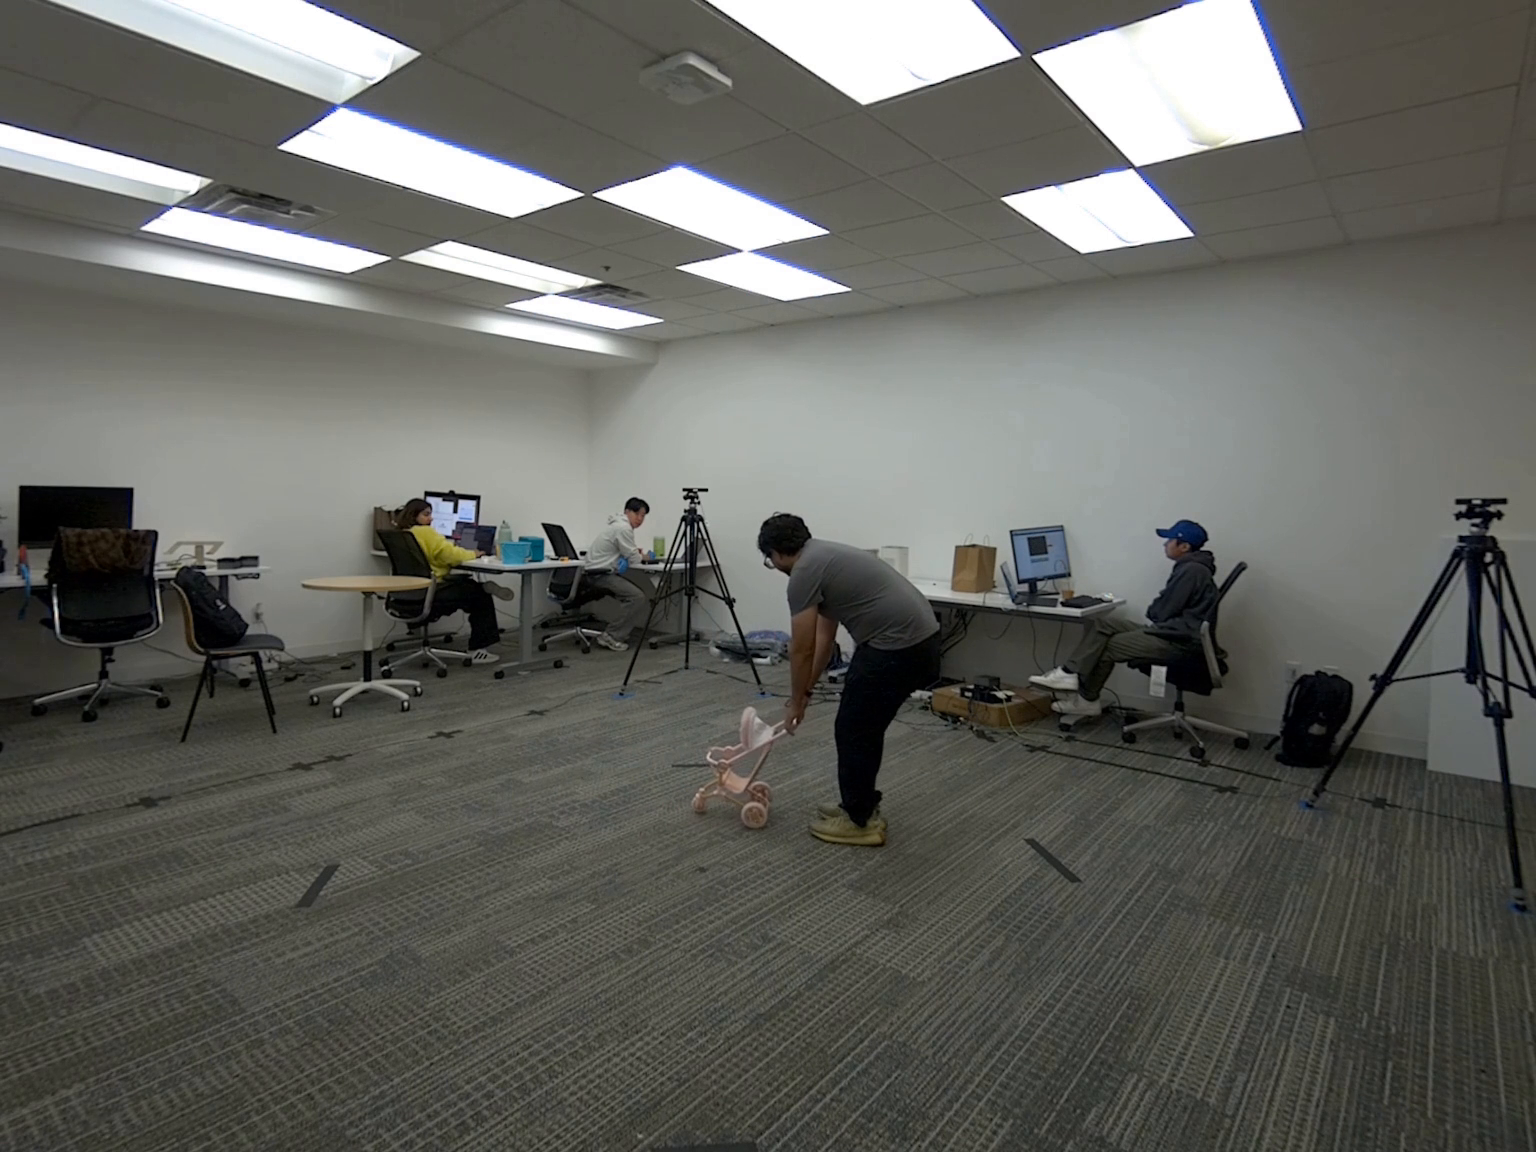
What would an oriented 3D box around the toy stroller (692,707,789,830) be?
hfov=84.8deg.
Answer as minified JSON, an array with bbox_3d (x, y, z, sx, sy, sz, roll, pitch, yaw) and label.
[{"bbox_3d":[-0.116,0.799,3.627,0.346,0.533,0.278,17,7,10],"label":"toy stroller"}]
